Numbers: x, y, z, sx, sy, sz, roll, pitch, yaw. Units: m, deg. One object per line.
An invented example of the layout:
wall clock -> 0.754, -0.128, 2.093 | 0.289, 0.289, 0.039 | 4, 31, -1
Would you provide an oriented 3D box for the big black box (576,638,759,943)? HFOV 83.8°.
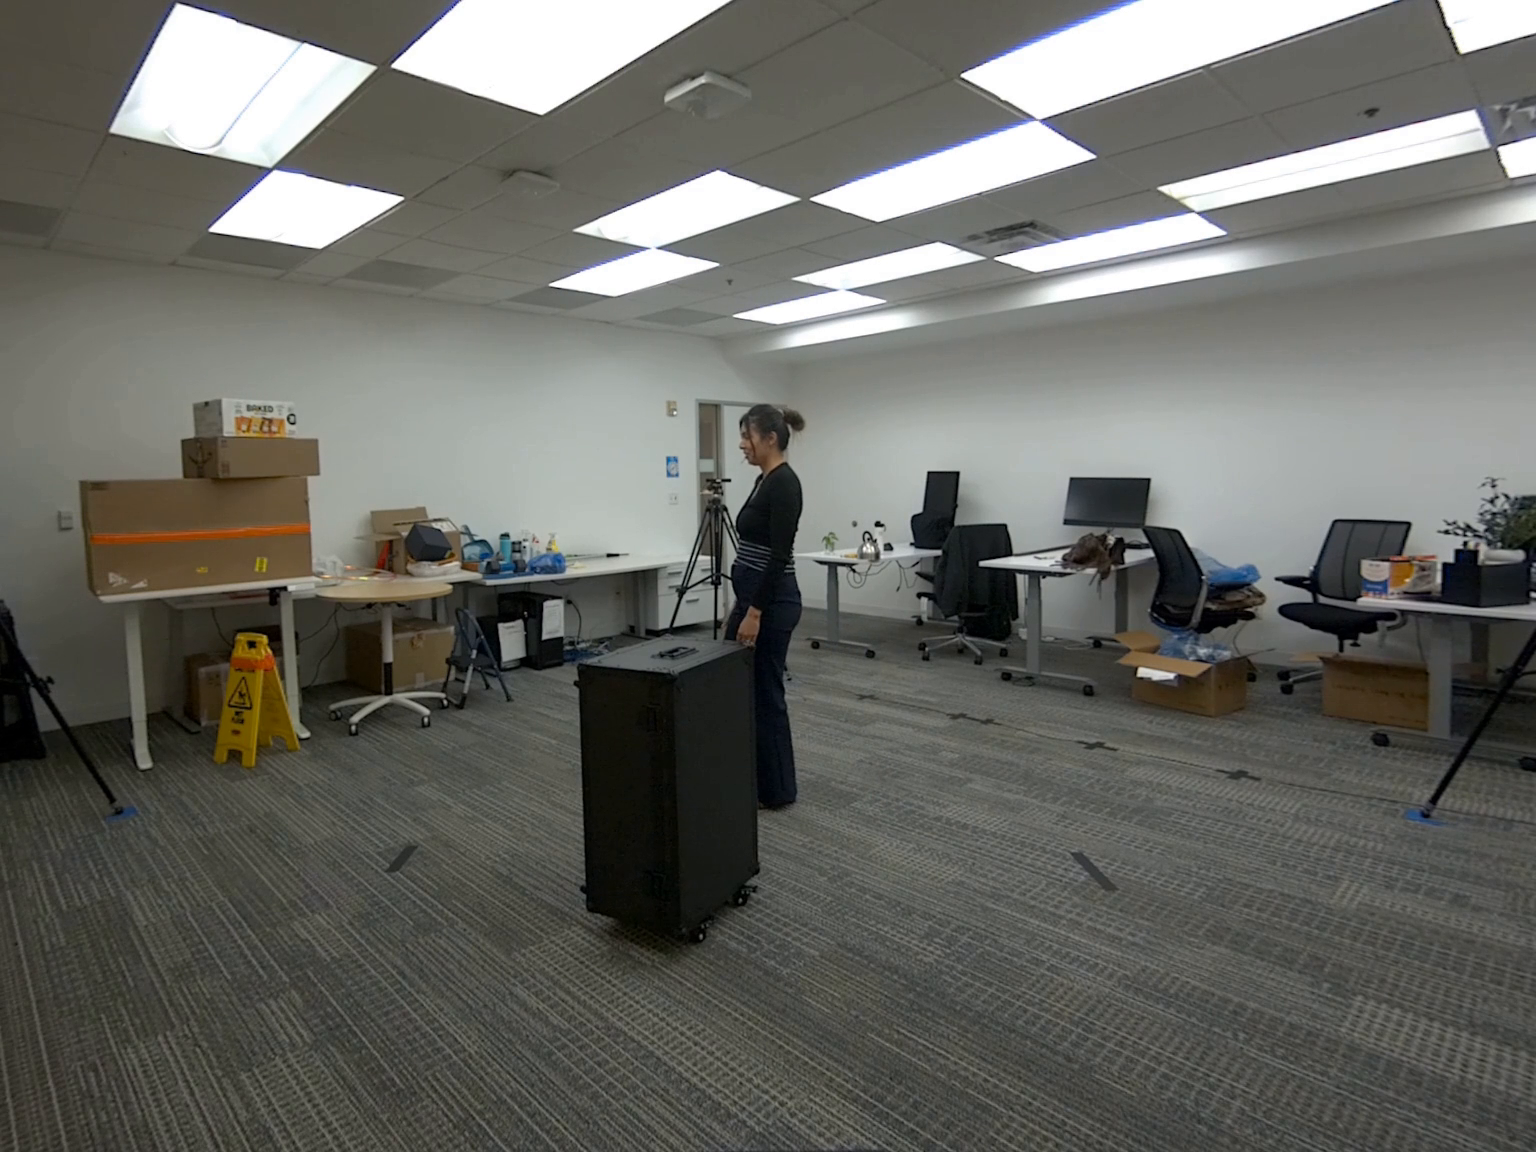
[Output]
big black box -> -0.316, 0.670, 2.735 | 0.406, 0.859, 0.510 | 0, 4, 30
